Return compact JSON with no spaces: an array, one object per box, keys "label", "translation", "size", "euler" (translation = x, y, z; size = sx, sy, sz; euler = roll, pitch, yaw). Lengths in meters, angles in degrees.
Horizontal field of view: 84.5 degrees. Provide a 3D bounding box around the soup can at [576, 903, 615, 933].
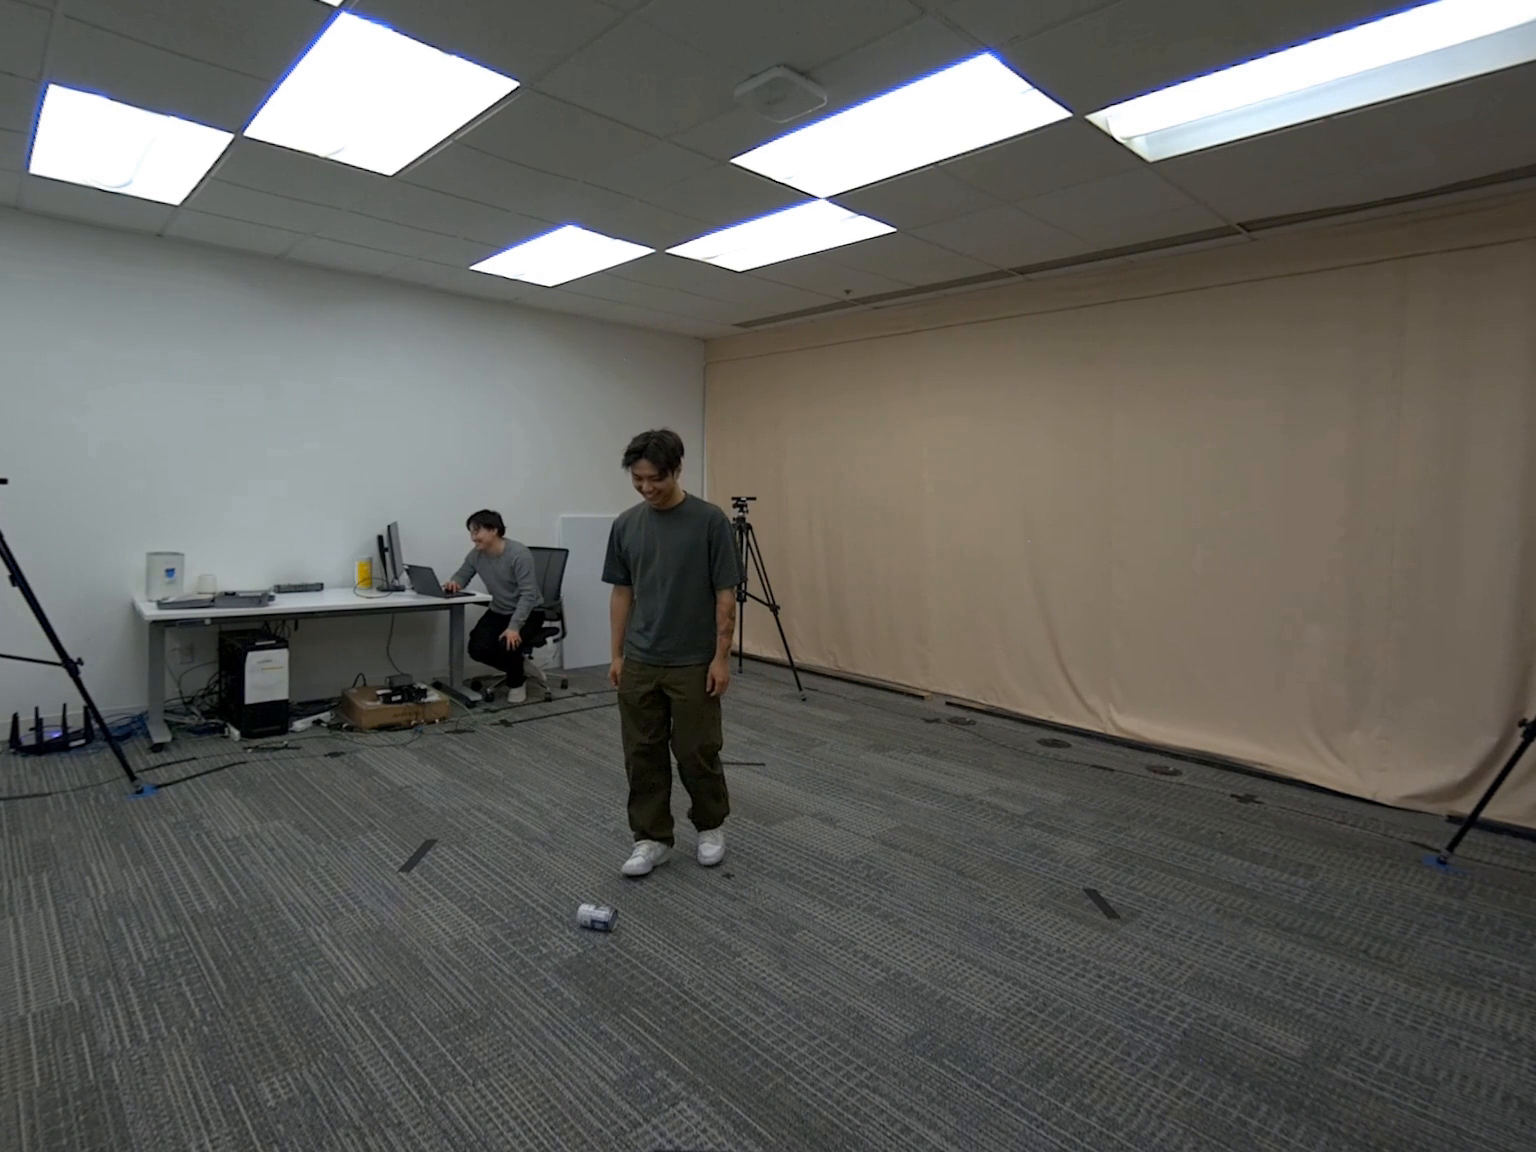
[{"label":"soup can","translation":[-0.570,1.094,2.715],"size":[0.123,0.067,0.066],"euler":[2,4,14]}]
